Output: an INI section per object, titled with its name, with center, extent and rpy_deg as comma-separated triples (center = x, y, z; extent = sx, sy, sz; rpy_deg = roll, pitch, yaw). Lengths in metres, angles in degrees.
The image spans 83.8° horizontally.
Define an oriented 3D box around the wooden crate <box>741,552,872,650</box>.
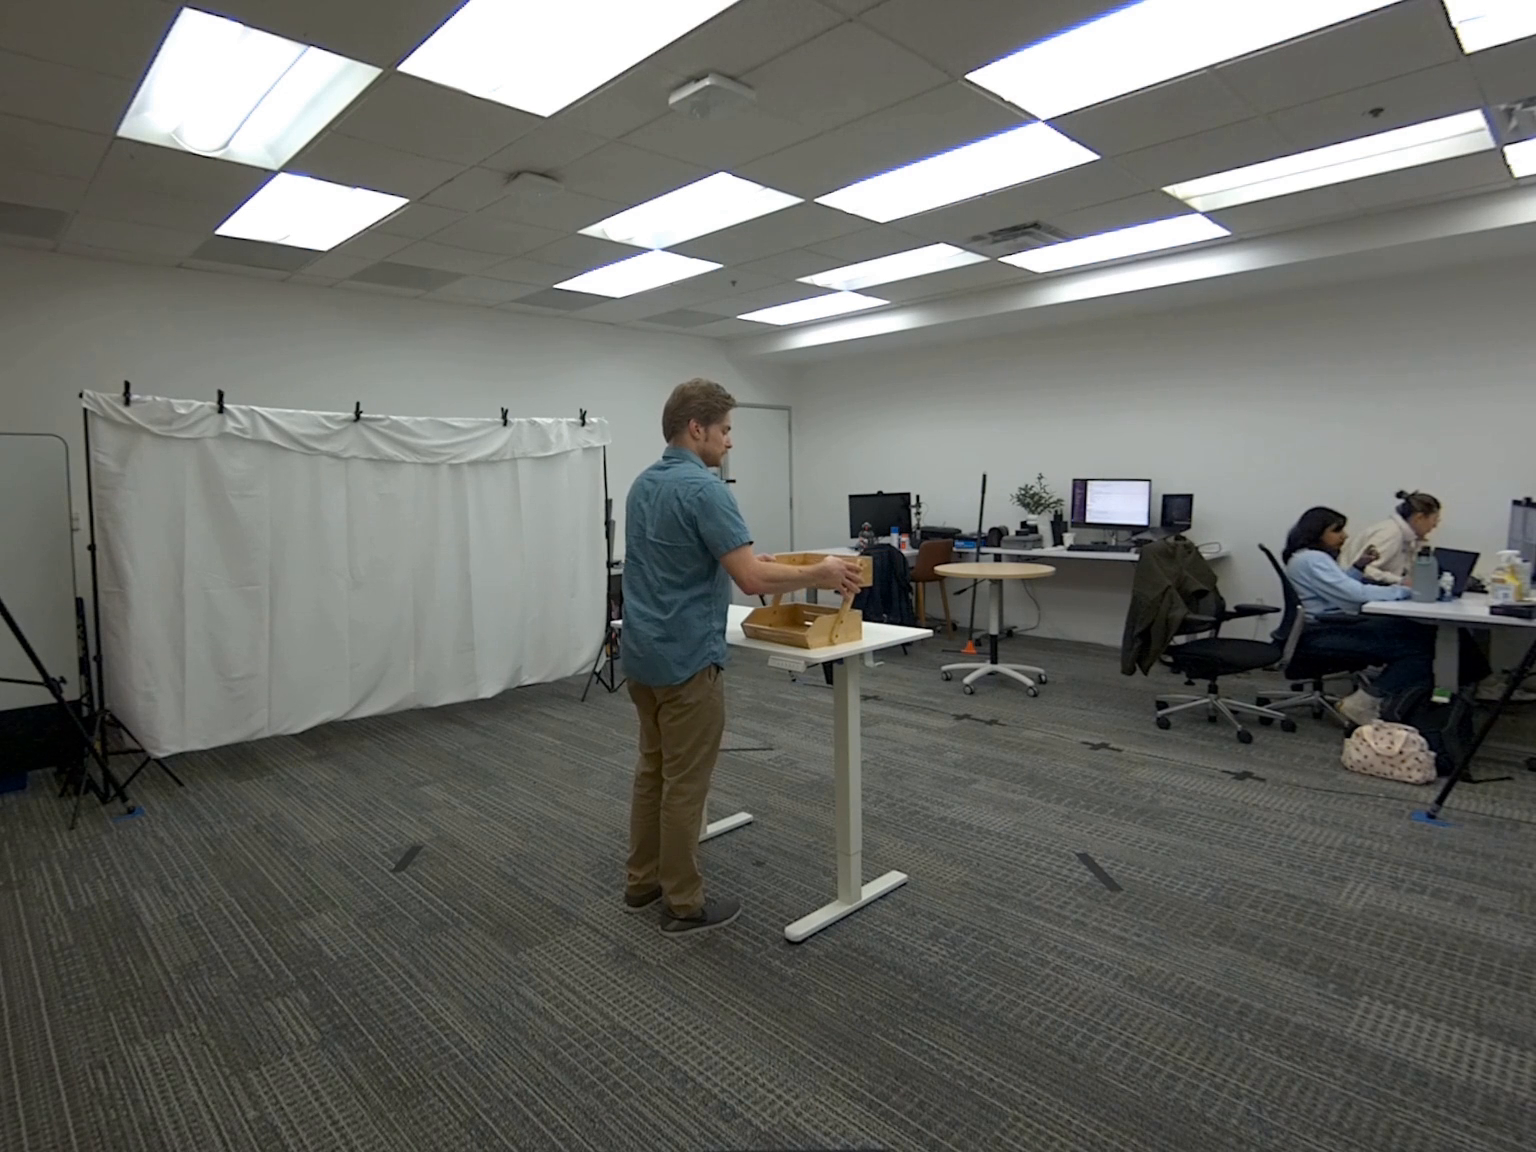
[wooden crate]
center = 0.124, 0.068, 2.751
extent = 0.294, 0.272, 0.334
rpy_deg = -4, 6, -40
